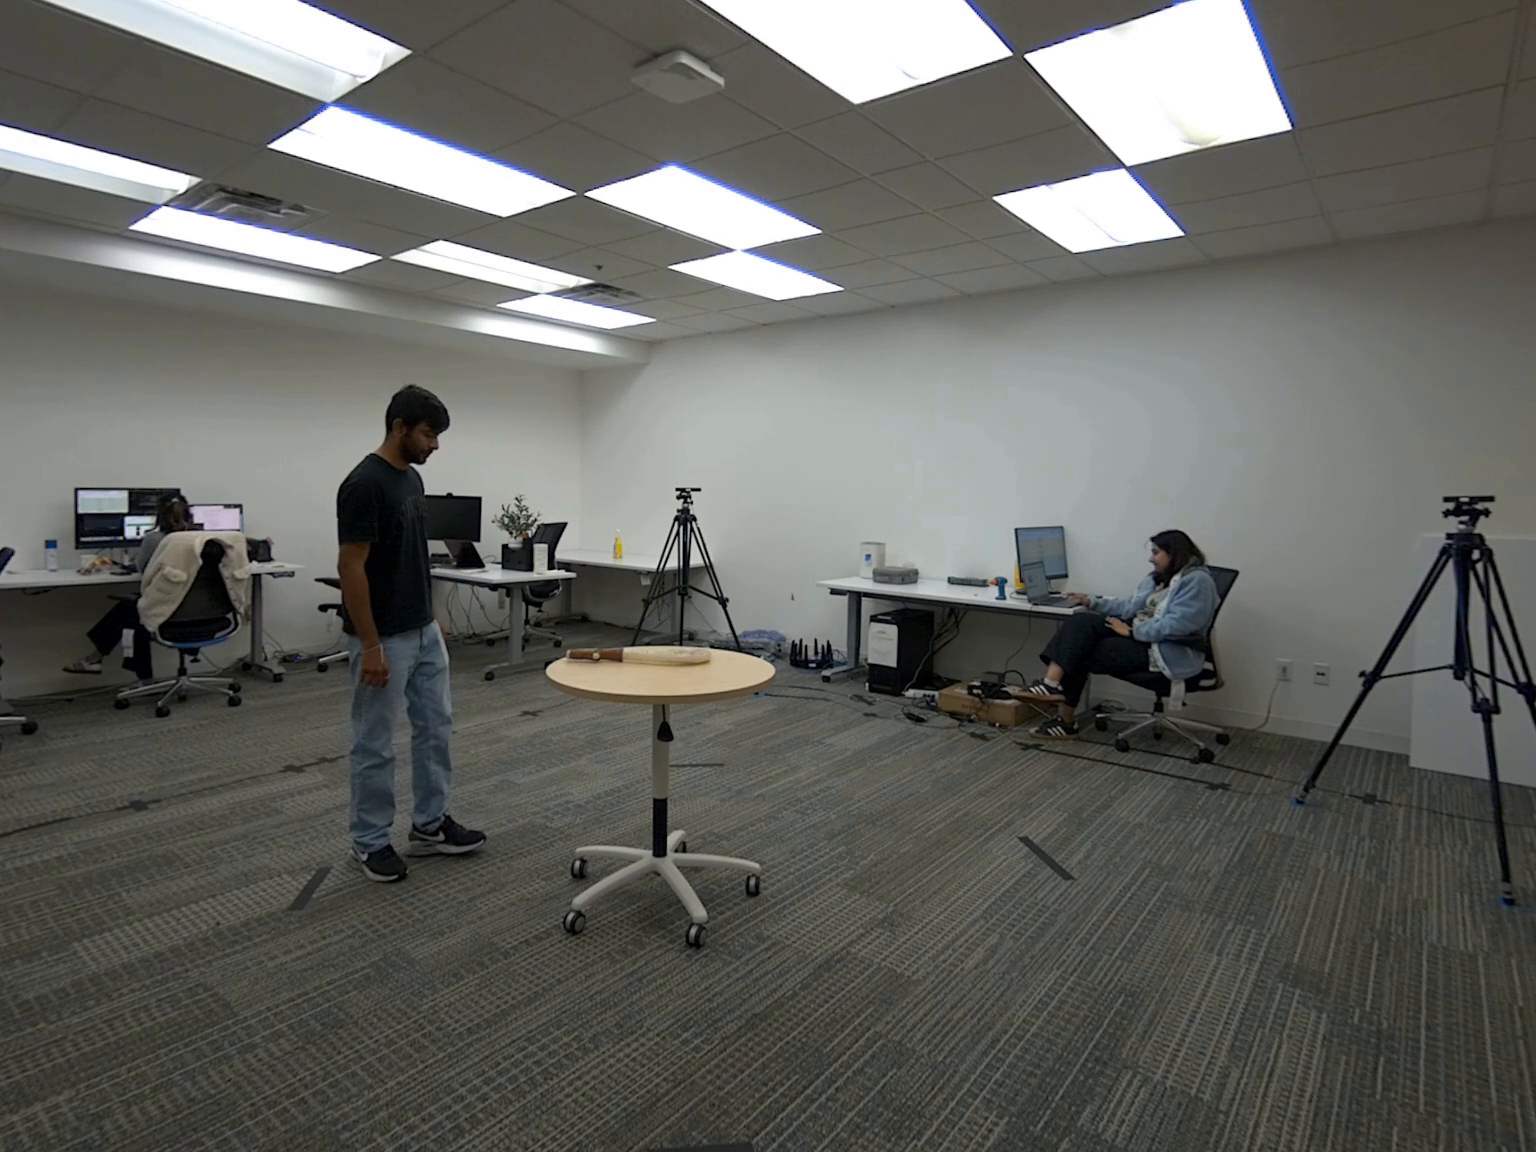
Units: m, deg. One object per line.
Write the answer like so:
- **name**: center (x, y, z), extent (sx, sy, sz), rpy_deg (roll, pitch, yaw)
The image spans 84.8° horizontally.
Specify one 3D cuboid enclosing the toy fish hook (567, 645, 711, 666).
- **toy fish hook**: center (-0.472, 0.283, 2.997), extent (0.507, 0.048, 0.223), rpy_deg (2, -3, 0)
